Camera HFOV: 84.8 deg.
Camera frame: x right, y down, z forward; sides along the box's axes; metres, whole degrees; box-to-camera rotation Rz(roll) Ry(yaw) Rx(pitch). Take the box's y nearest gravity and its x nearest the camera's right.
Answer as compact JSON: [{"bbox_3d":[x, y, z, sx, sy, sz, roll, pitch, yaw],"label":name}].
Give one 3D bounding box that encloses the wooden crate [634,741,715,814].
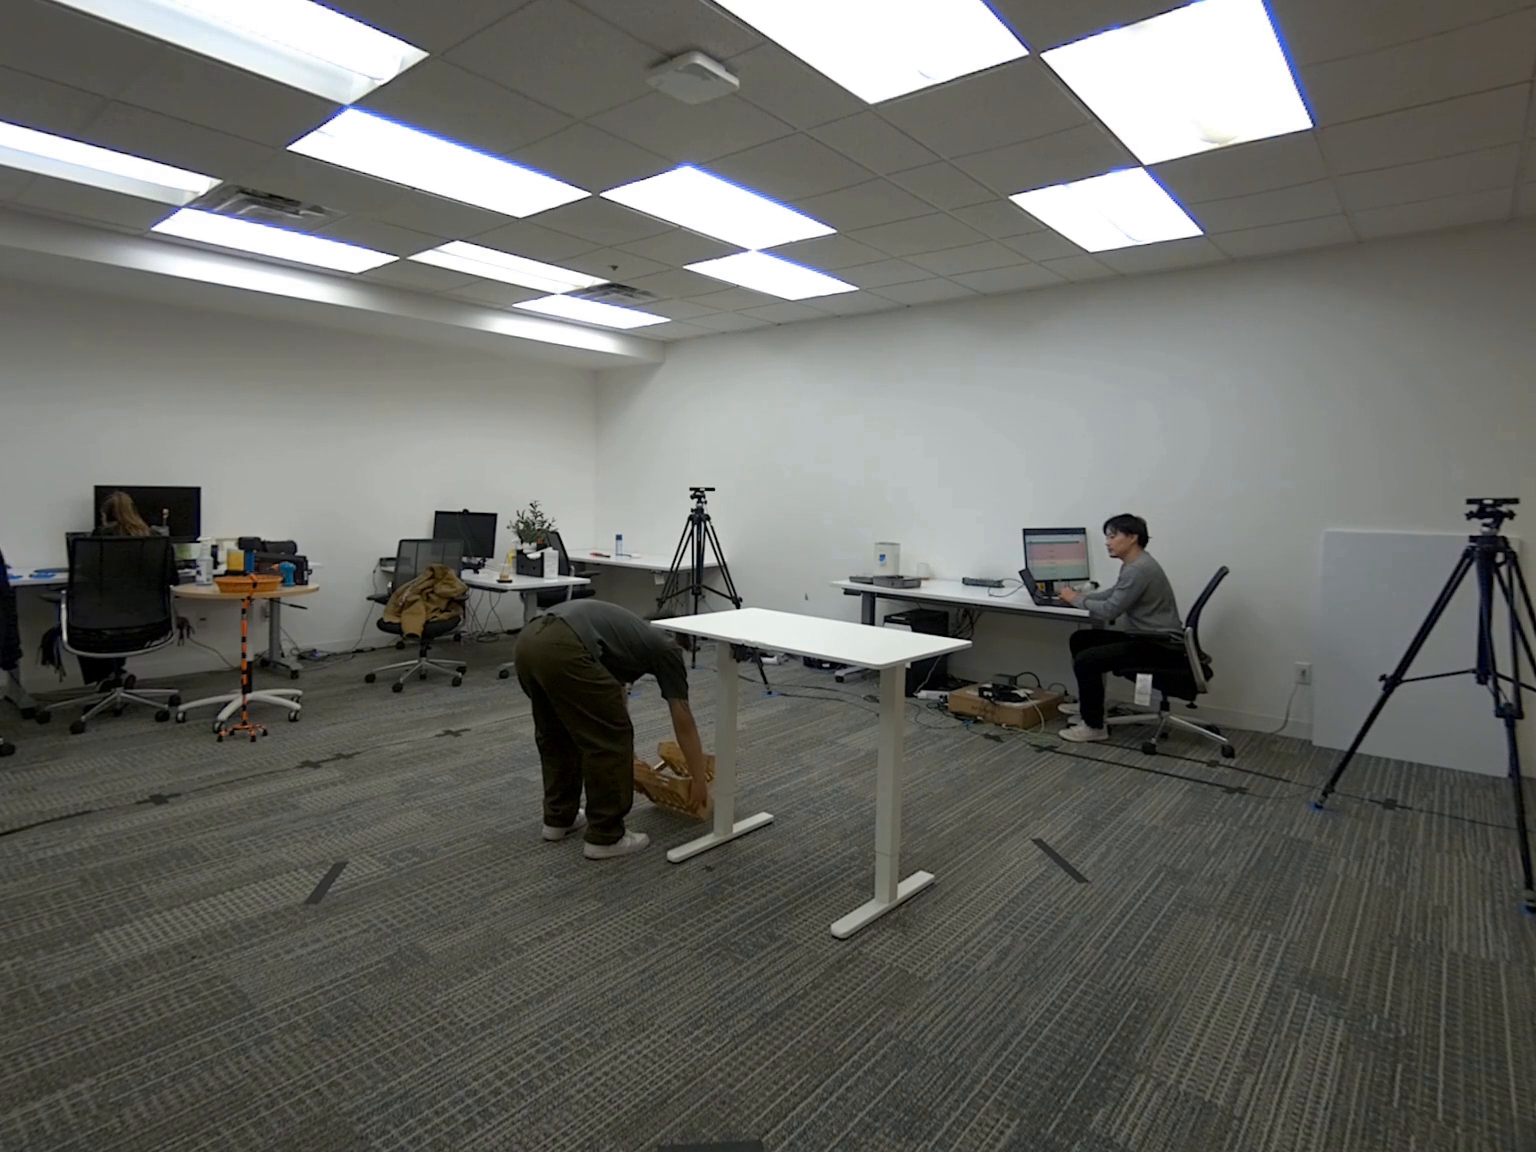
[{"bbox_3d":[-0.384,0.837,3.641,0.335,0.275,0.290,5,-38,37],"label":"wooden crate"}]
